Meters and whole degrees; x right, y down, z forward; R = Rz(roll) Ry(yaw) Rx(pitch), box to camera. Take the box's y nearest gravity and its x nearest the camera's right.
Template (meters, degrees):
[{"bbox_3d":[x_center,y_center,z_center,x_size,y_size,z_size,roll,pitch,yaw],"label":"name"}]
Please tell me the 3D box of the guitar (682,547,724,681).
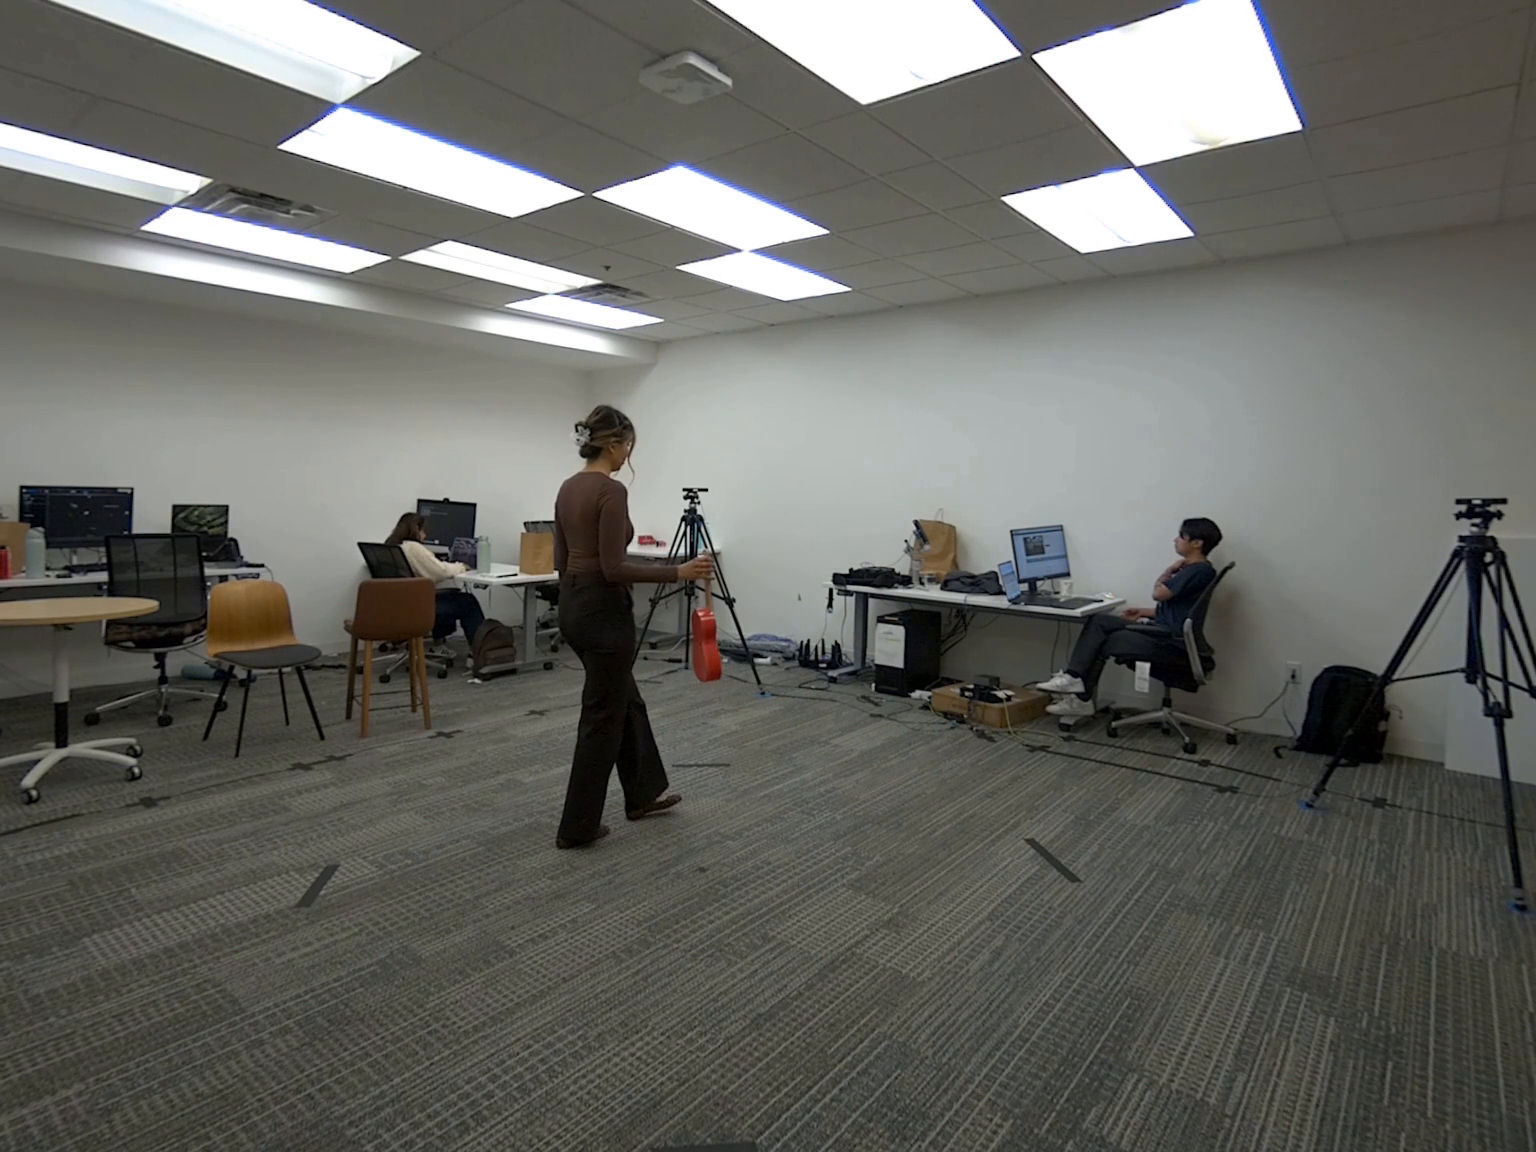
[{"bbox_3d":[-0.257,0.148,3.264,0.069,0.502,0.195,-2,-8,-21],"label":"guitar"}]
